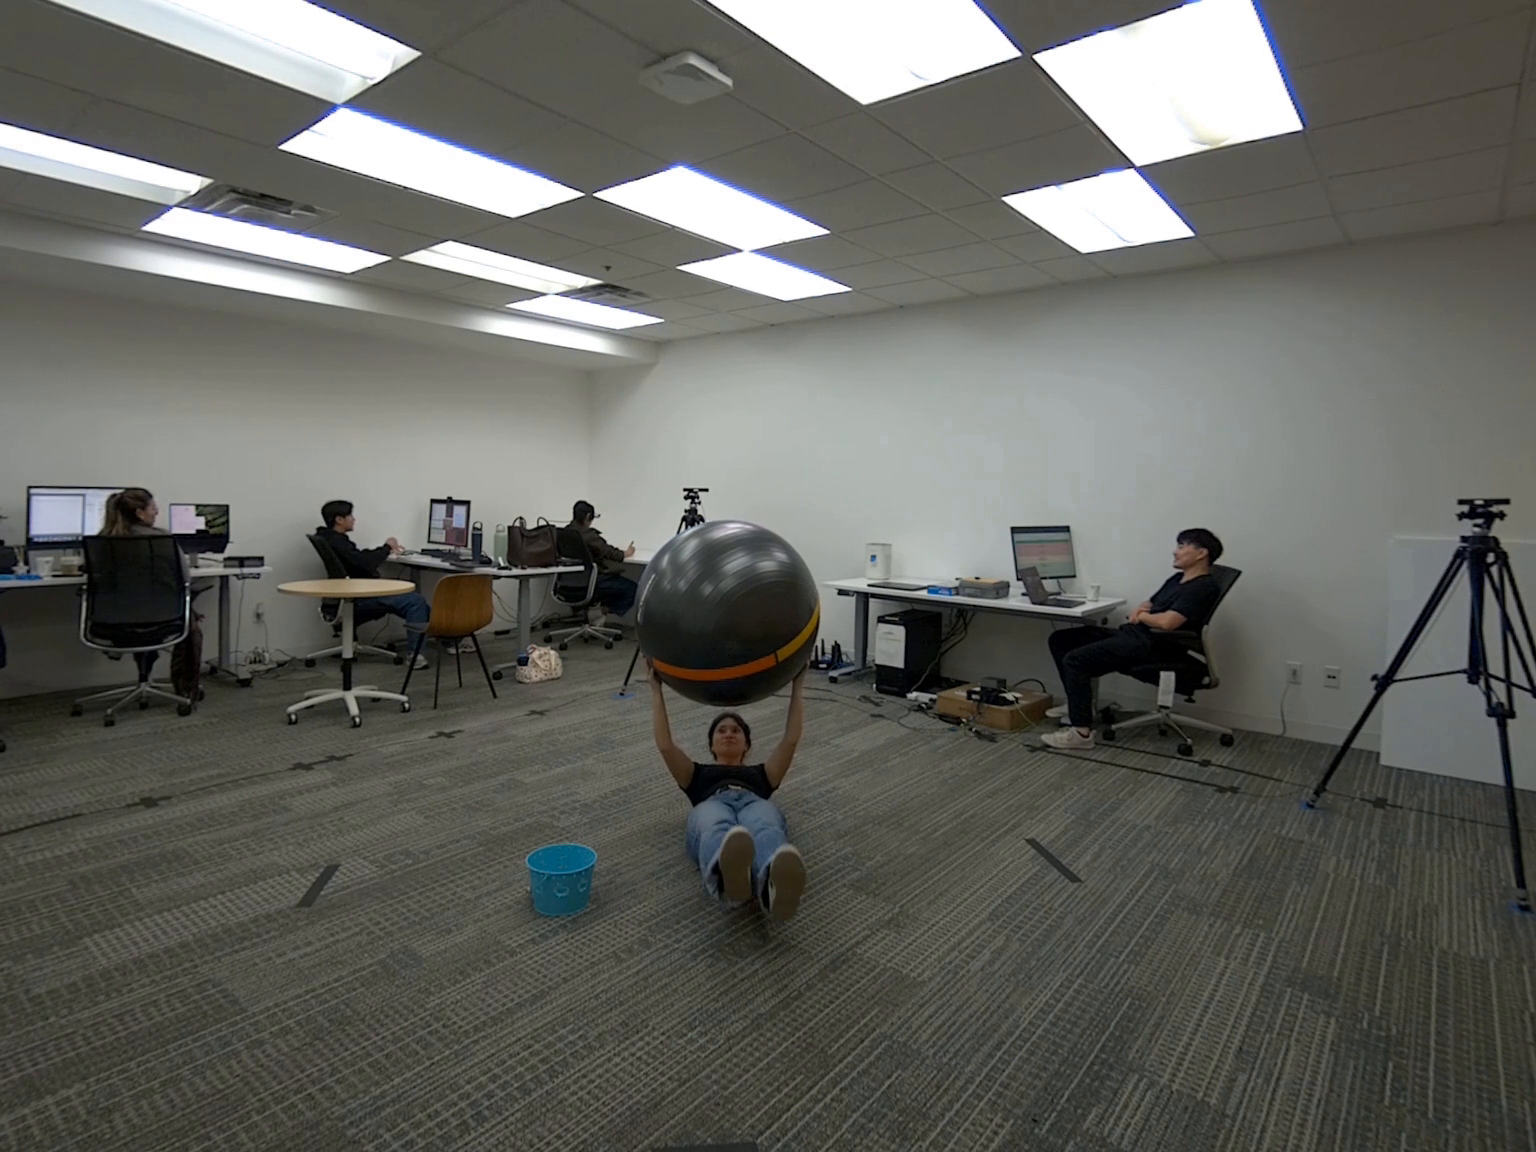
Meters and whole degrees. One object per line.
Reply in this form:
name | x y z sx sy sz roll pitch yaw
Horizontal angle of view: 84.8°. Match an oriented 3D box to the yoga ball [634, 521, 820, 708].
yoga ball | -0.180 0.152 3.483 0.757 0.755 0.762 1 4 -2
